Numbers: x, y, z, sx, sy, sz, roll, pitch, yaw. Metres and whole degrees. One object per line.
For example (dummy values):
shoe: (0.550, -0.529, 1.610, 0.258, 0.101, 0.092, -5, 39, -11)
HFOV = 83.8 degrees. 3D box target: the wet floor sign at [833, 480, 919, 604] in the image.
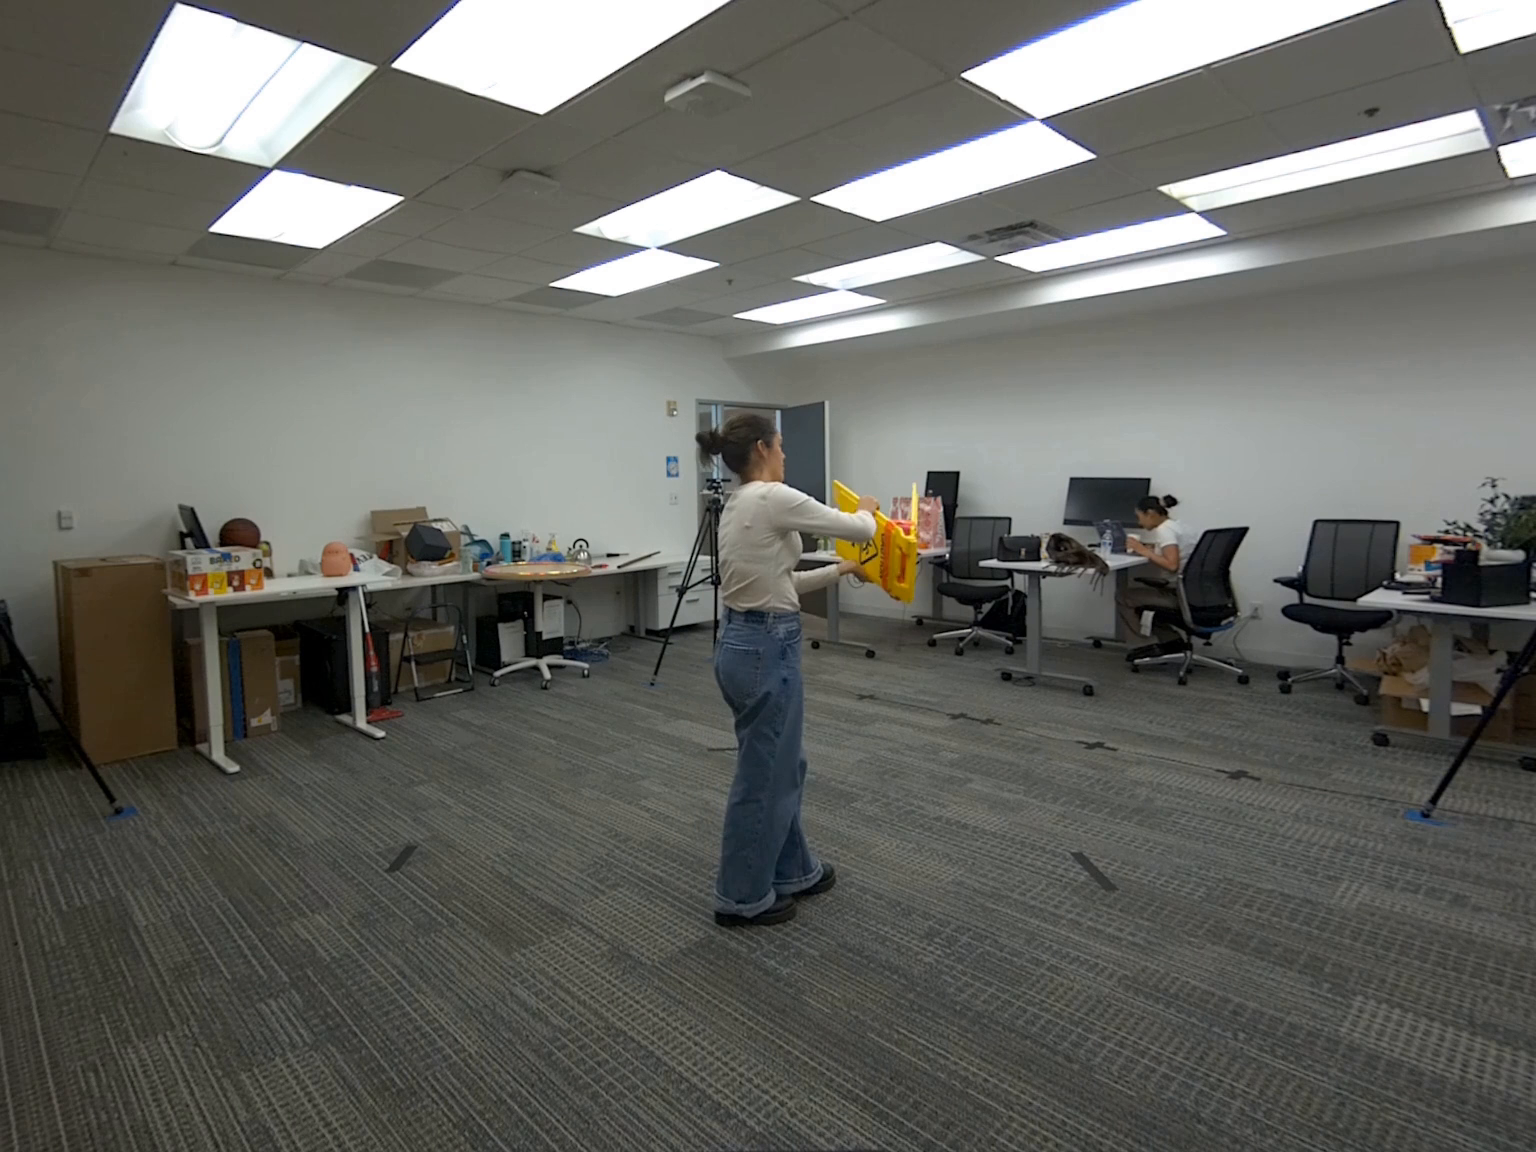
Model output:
wet floor sign: (0.396, -0.114, 2.830, 0.291, 0.278, 0.653, -1, 17, 2)
